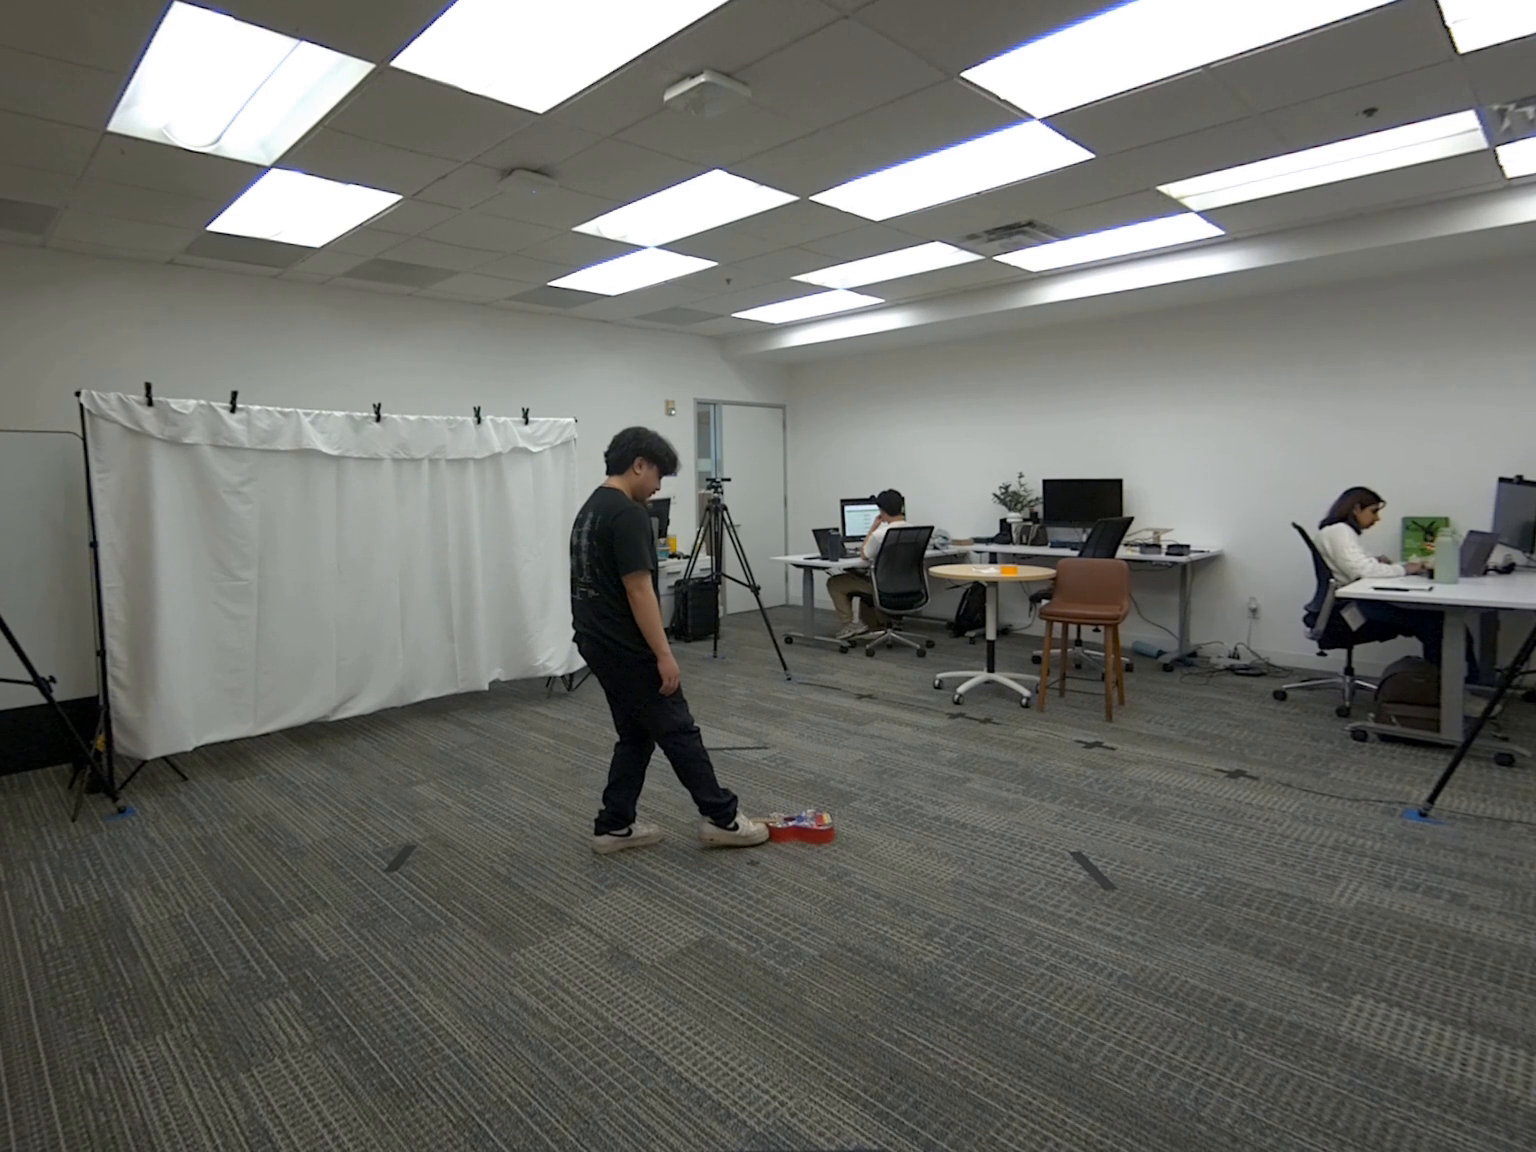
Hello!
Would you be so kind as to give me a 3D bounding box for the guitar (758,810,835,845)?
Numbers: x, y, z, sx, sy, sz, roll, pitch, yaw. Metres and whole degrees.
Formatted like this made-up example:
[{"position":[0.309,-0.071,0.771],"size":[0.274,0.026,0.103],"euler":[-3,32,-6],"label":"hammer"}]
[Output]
[{"position":[0.005,0.973,3.369],"size":[0.502,0.070,0.192],"euler":[0,7,8],"label":"guitar"}]
